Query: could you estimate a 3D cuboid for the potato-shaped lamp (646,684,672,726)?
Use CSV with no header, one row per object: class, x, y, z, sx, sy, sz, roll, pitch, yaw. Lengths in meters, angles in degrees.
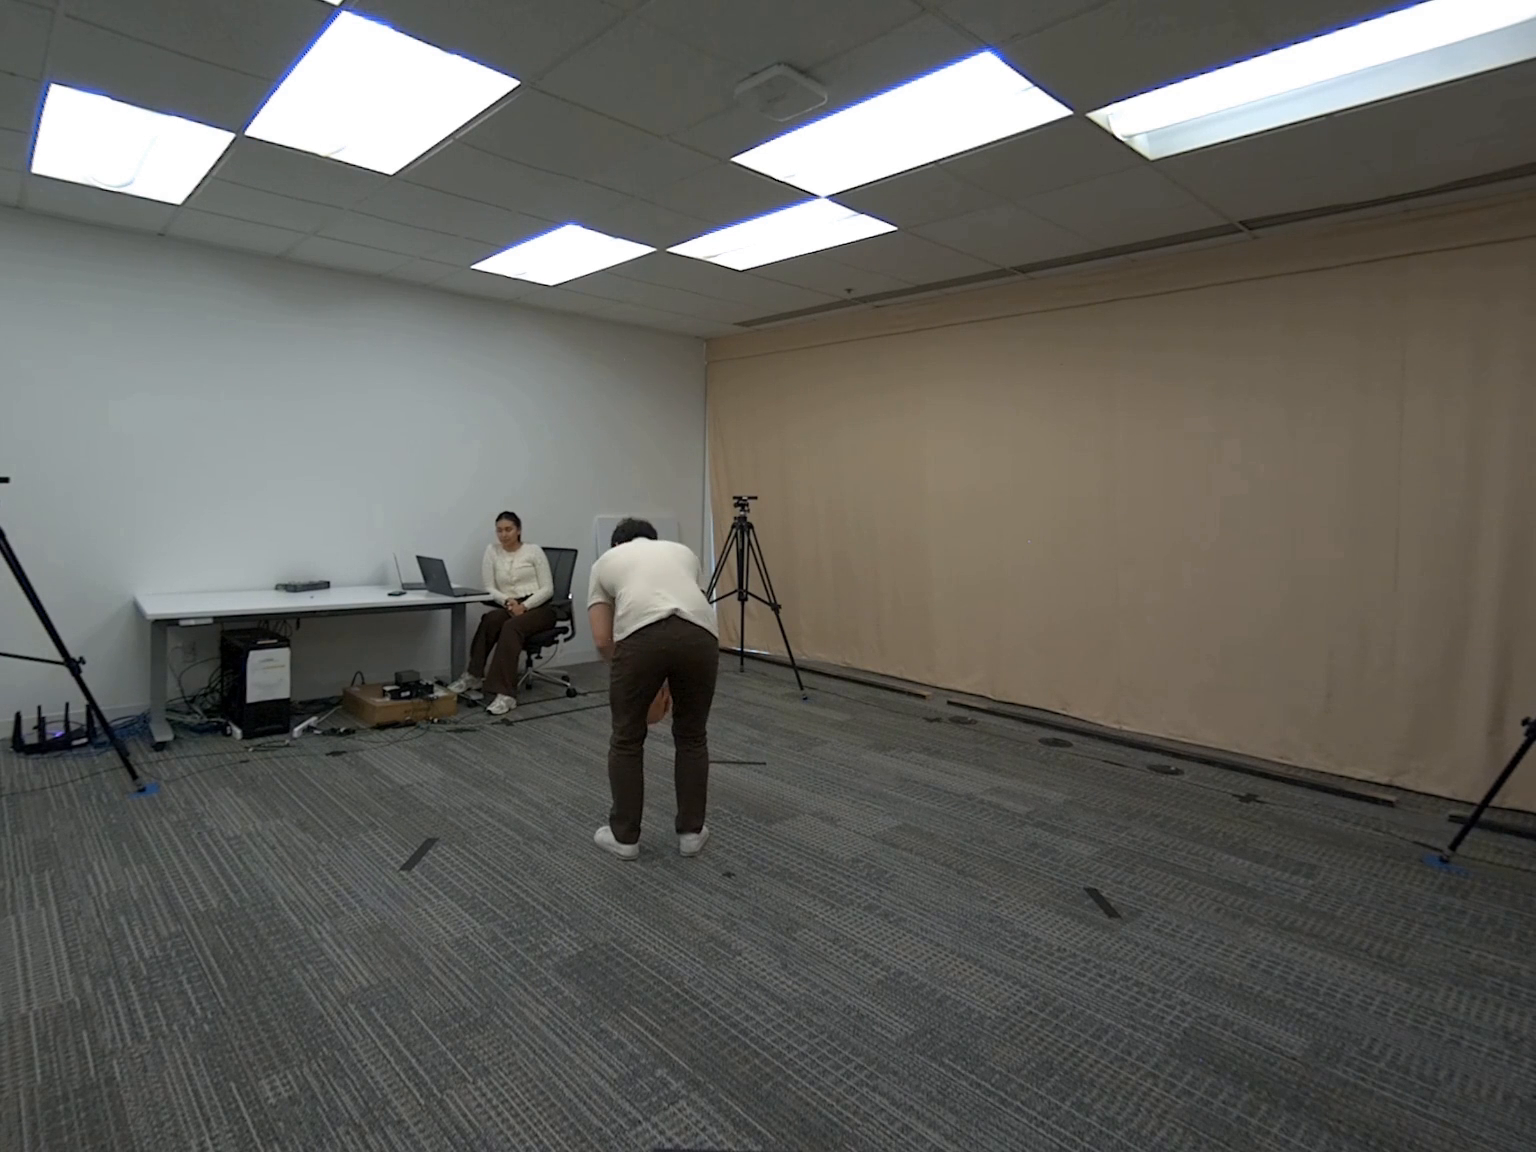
potato-shaped lamp,-0.523,0.524,3.573,0.163,0.196,0.175,-3,13,-16
